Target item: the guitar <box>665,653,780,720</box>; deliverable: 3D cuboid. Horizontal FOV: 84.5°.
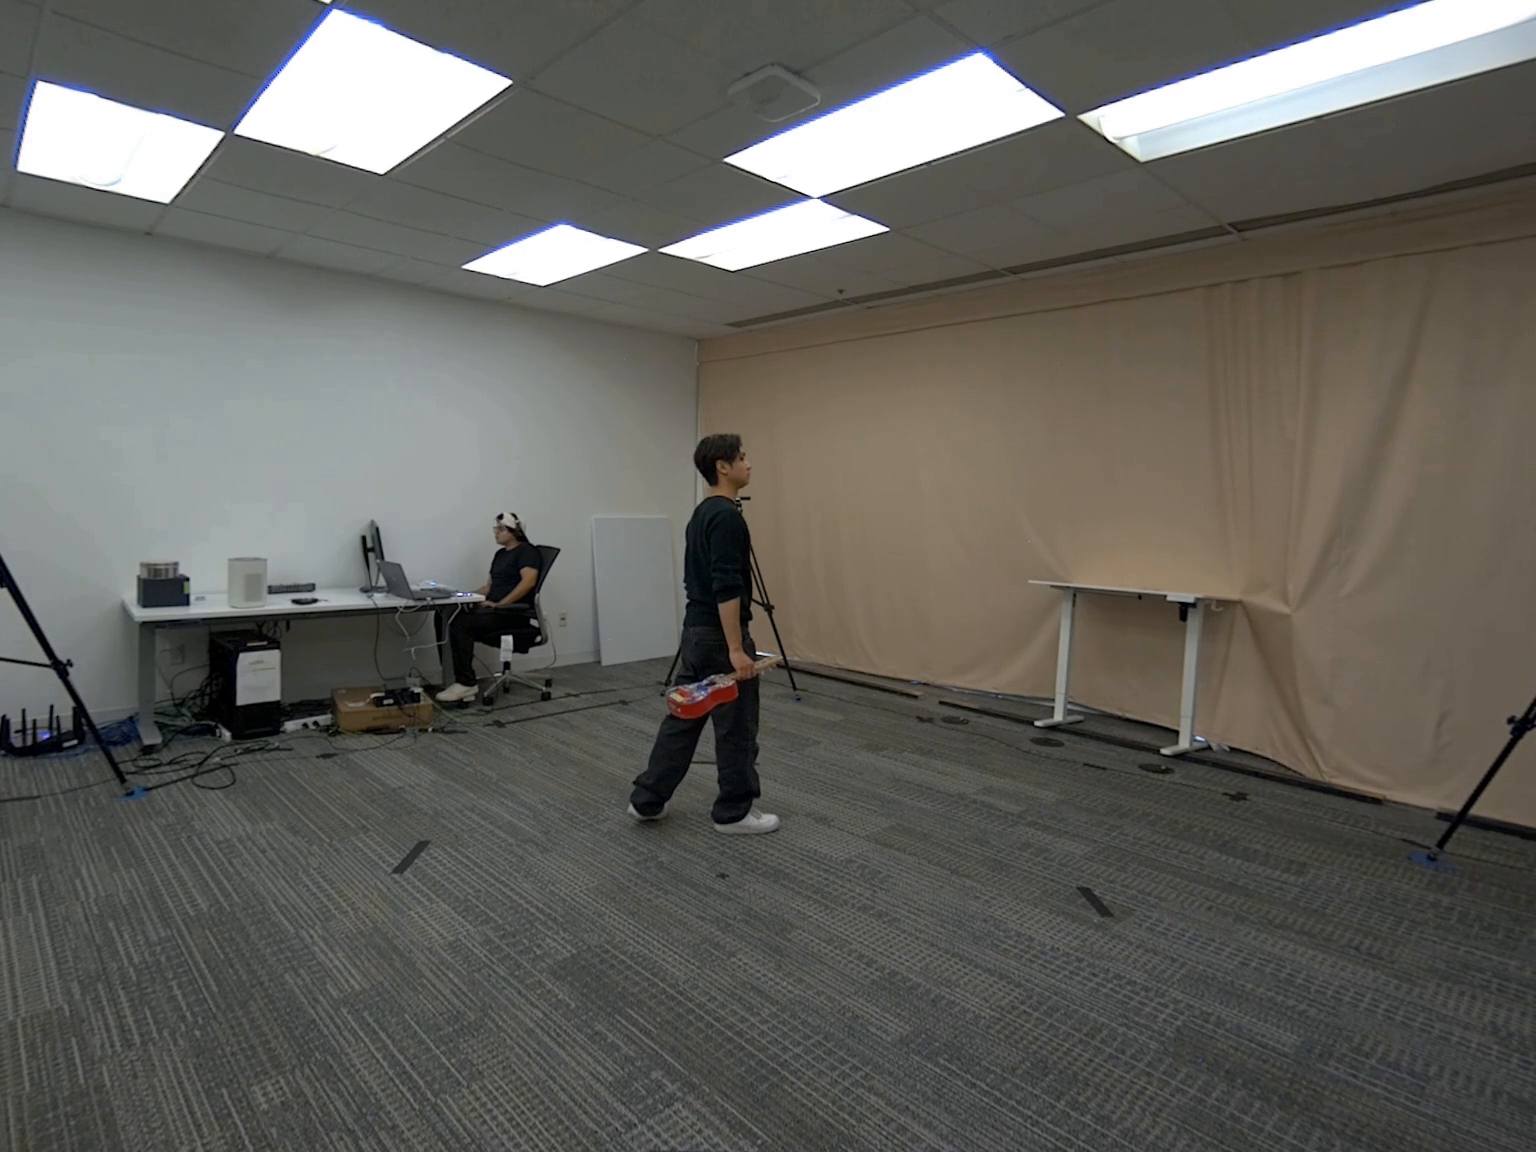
[{"bbox_3d":[-0.173,0.423,3.224,0.492,0.070,0.198,-16,17,-23],"label":"guitar"}]
